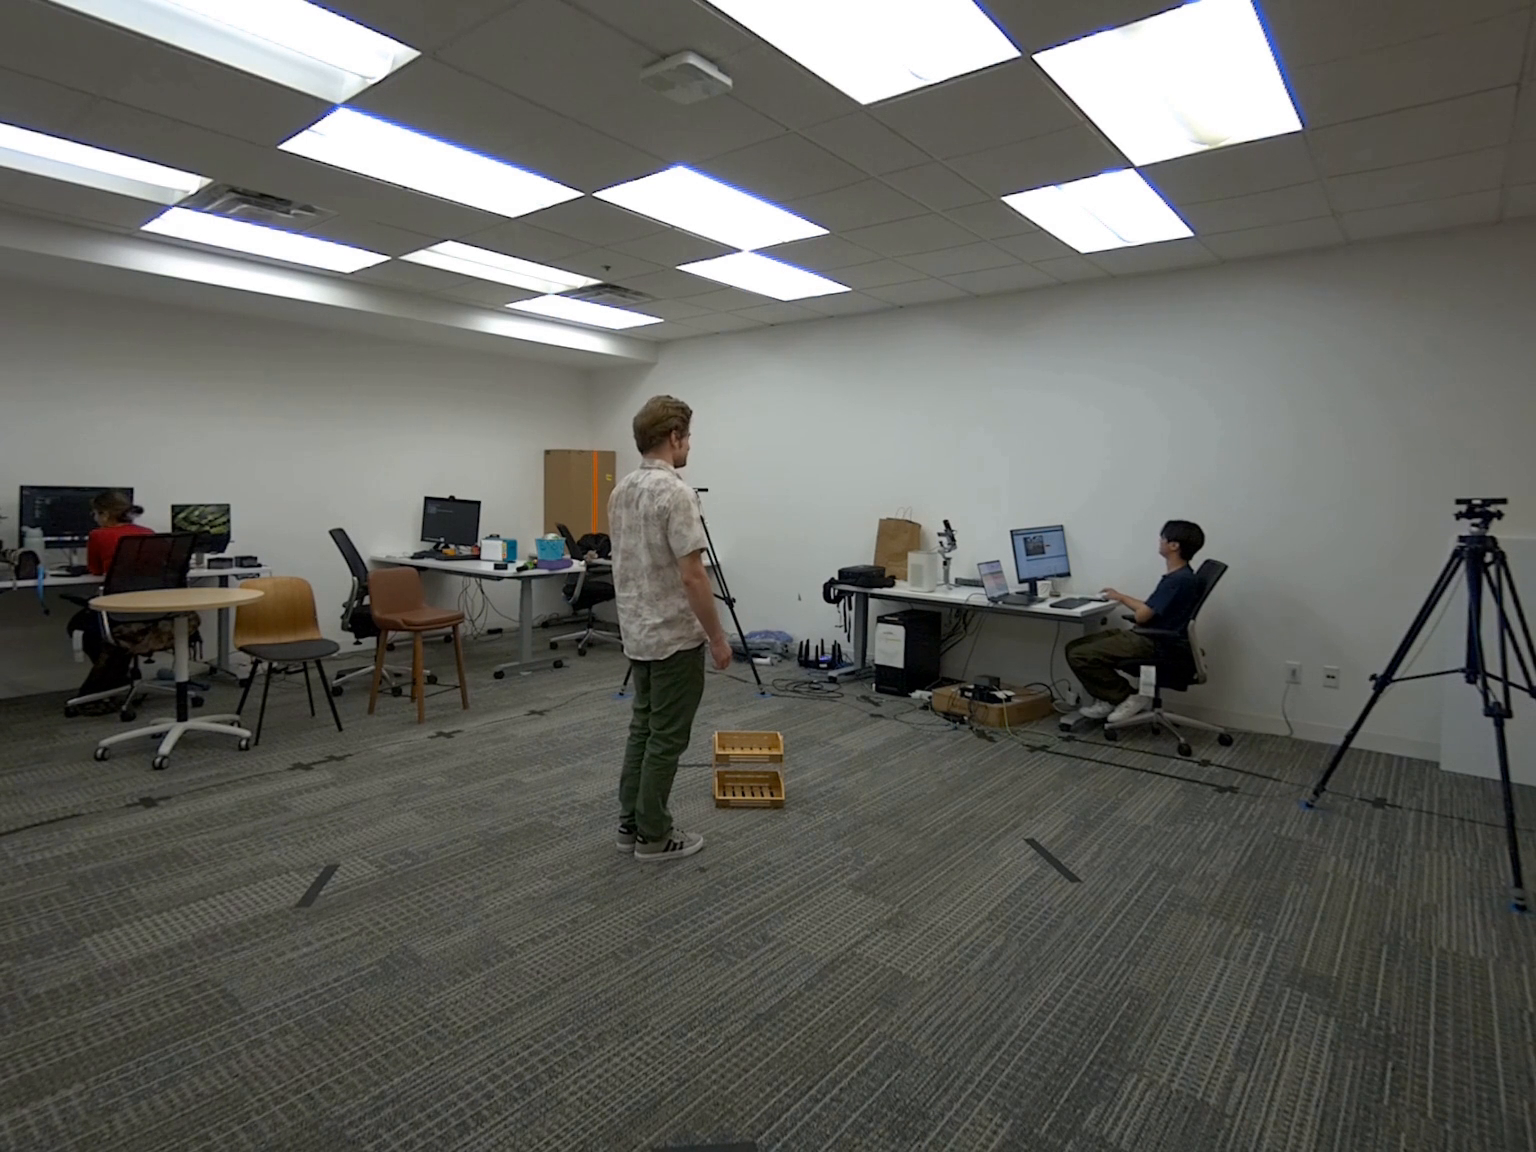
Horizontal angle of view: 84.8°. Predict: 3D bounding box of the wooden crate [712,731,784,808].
[{"bbox_3d":[-0.095,0.865,3.853,0.323,0.272,0.304,1,4,-4],"label":"wooden crate"}]
